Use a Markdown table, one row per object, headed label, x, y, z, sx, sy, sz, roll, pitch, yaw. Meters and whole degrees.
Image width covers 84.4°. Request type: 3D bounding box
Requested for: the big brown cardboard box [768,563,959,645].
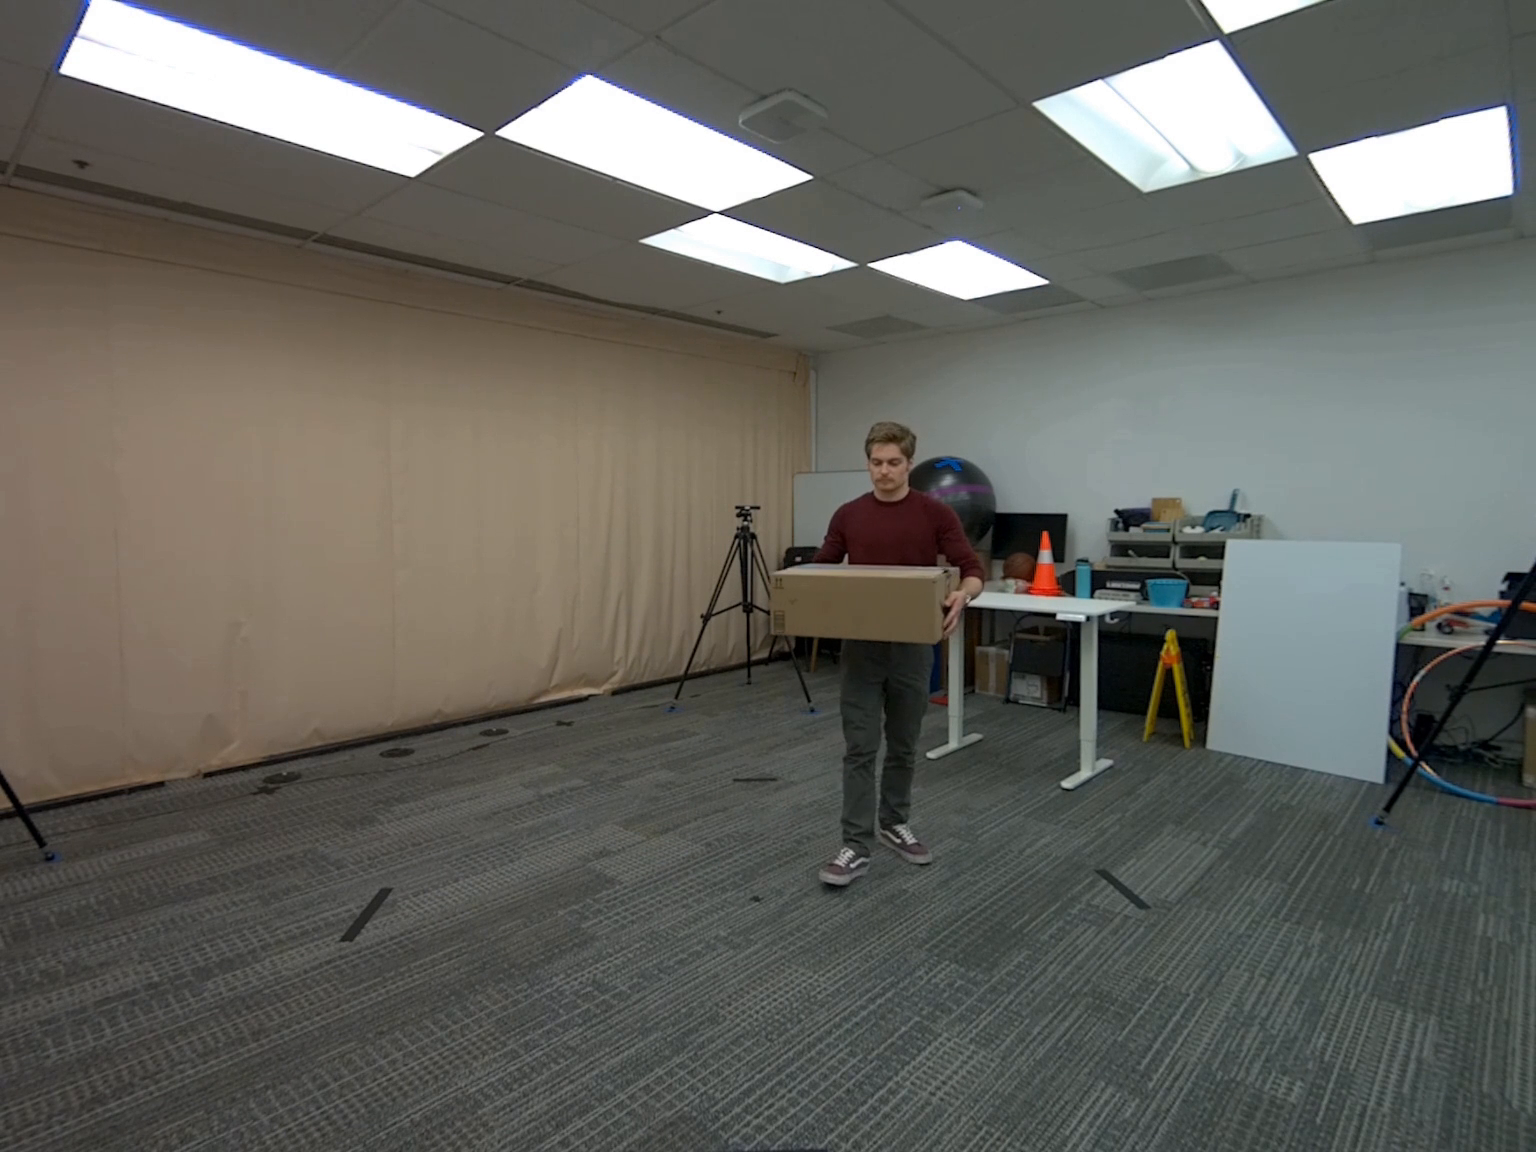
| label | x | y | z | sx | sy | sz | roll | pitch | yaw |
| --- | --- | --- | --- | --- | --- | --- | --- | --- | --- |
| big brown cardboard box | 0.348 | 0.086 | 2.974 | 0.603 | 0.232 | 0.408 | 1 | 5 | 24 |
